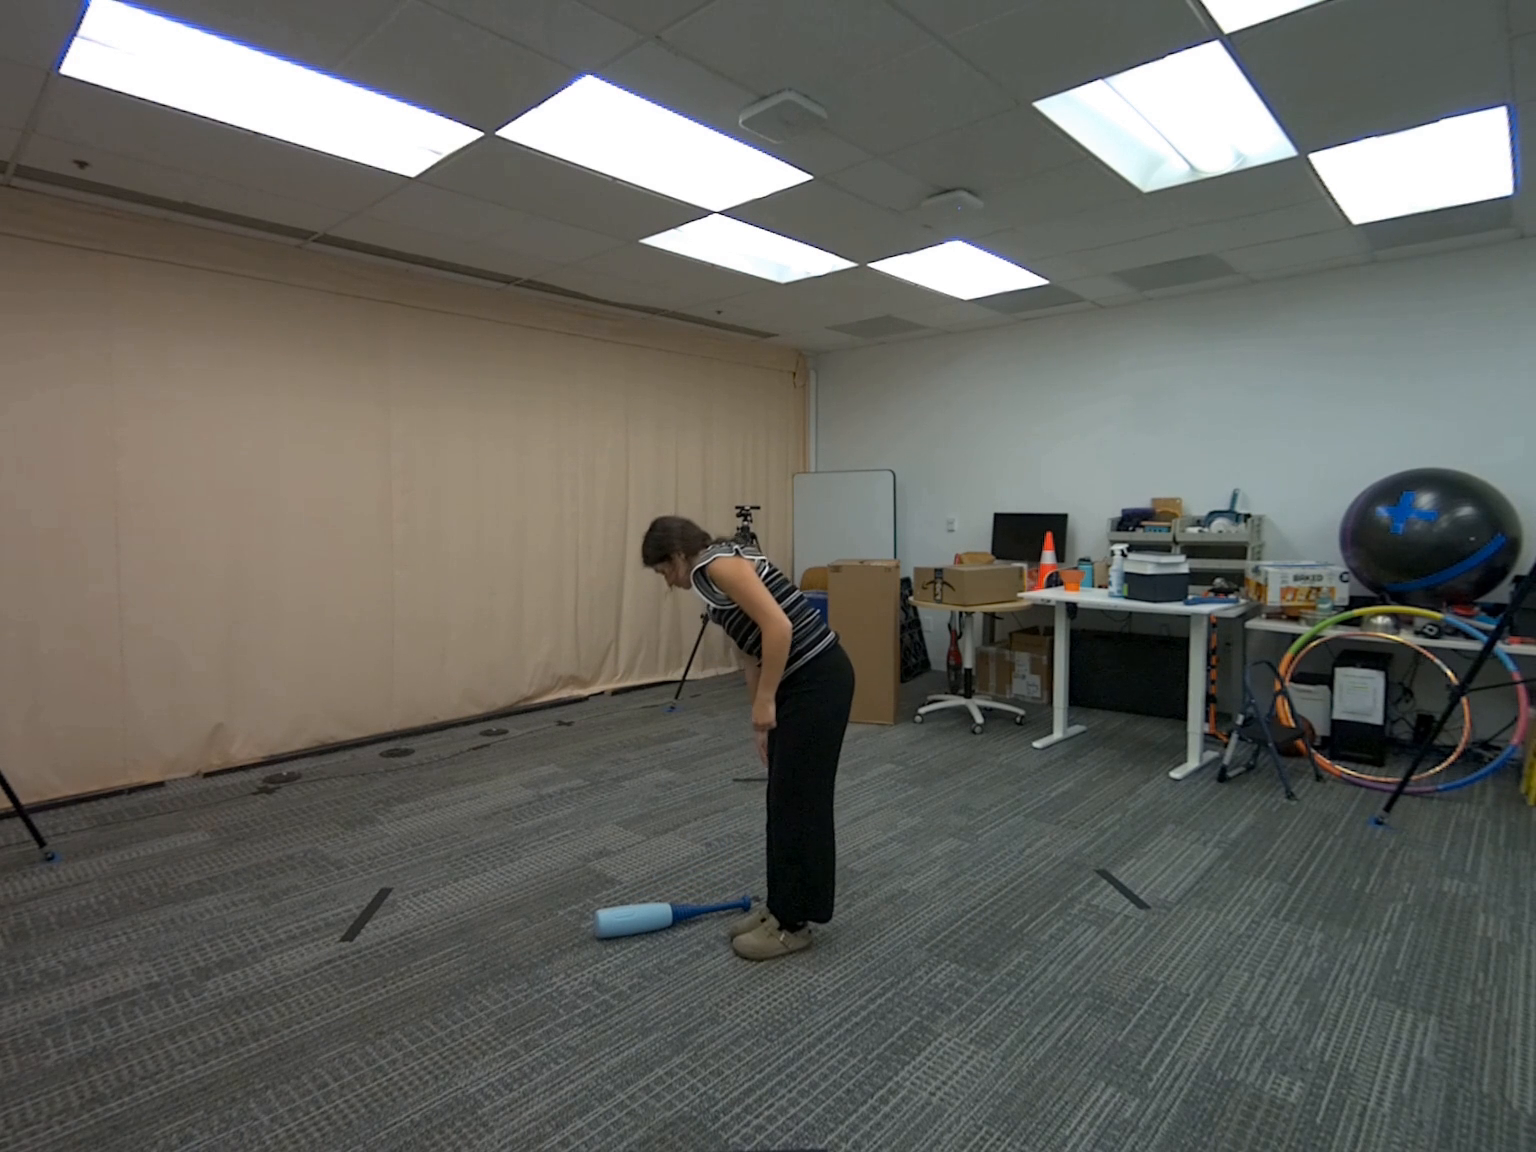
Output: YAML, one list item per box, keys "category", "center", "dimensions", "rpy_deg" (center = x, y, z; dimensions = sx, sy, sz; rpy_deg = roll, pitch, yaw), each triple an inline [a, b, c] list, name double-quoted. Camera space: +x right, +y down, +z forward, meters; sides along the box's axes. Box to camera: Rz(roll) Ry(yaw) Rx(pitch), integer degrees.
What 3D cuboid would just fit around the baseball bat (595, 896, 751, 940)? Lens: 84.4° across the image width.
- category: "baseball bat"
  center: [-0.310, 1.126, 2.799]
  dimensions: [0.531, 0.089, 0.091]
  rpy_deg: [1, 3, -21]
